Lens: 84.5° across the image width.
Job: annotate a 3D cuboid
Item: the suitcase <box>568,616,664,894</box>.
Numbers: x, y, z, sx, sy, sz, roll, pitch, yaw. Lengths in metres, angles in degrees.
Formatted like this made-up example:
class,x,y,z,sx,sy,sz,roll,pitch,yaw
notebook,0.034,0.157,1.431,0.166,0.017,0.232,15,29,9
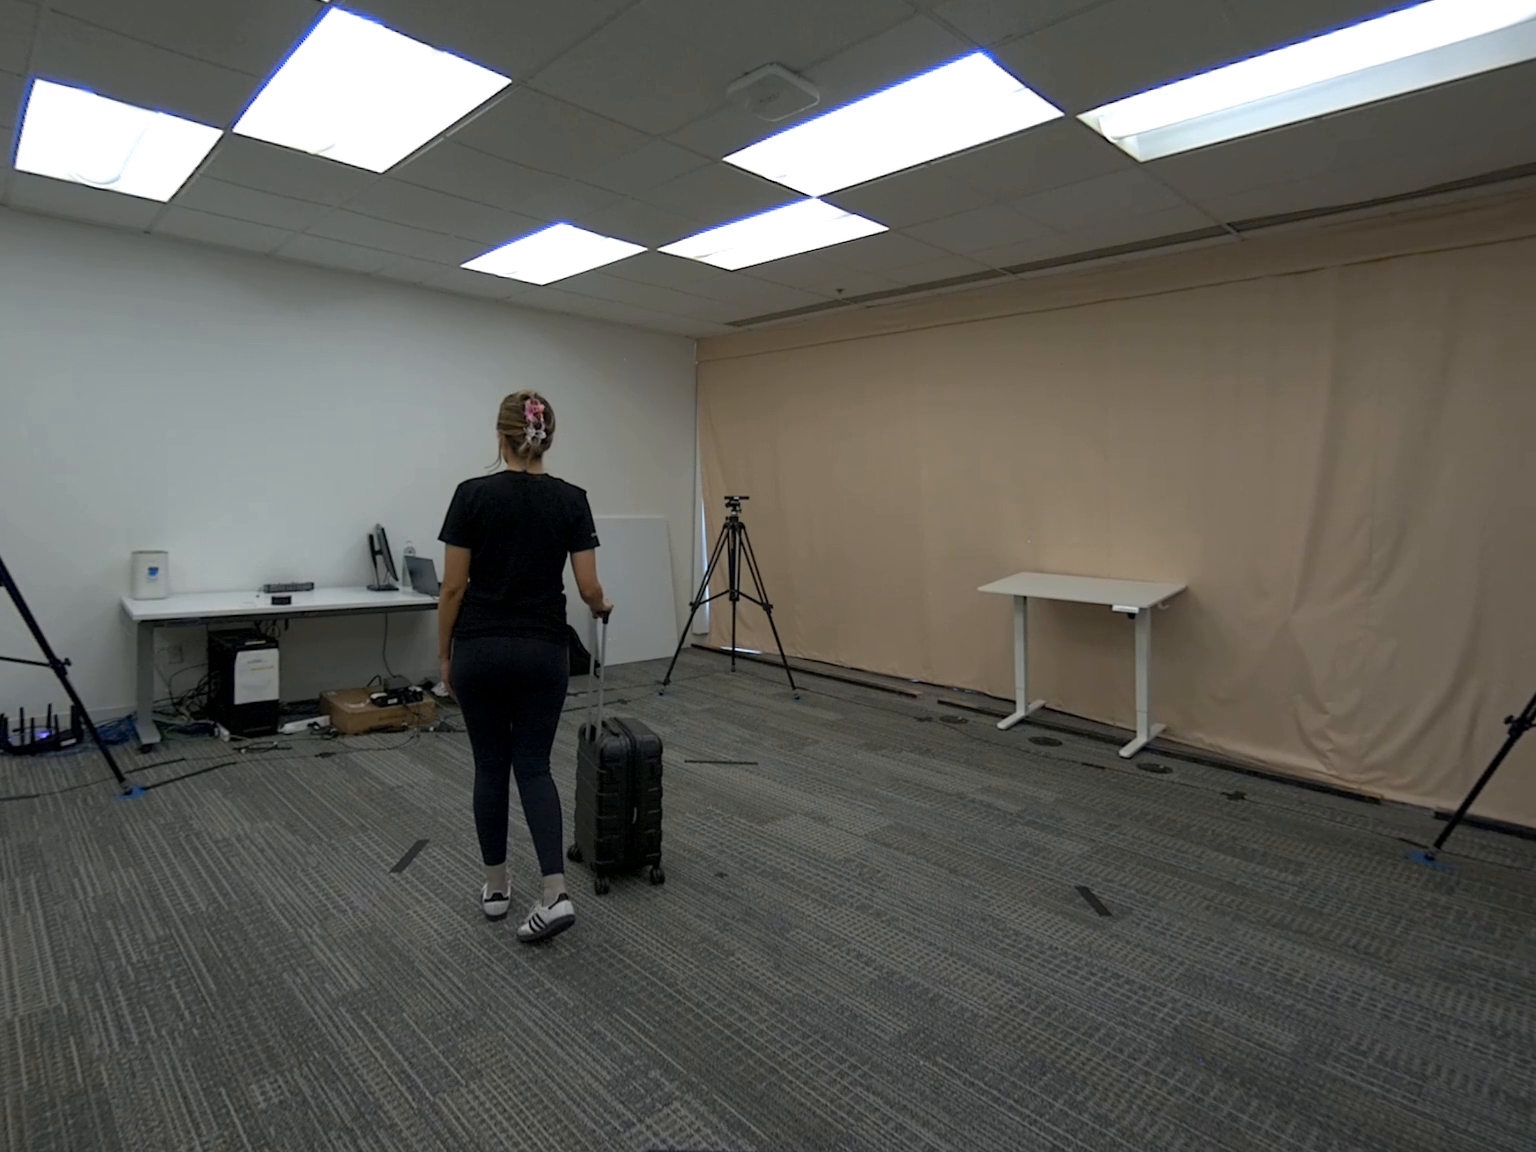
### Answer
class,x,y,z,sx,sy,sz,roll,pitch,yaw
suitcase,-0.549,0.618,3.116,0.252,0.977,0.391,2,2,-24
